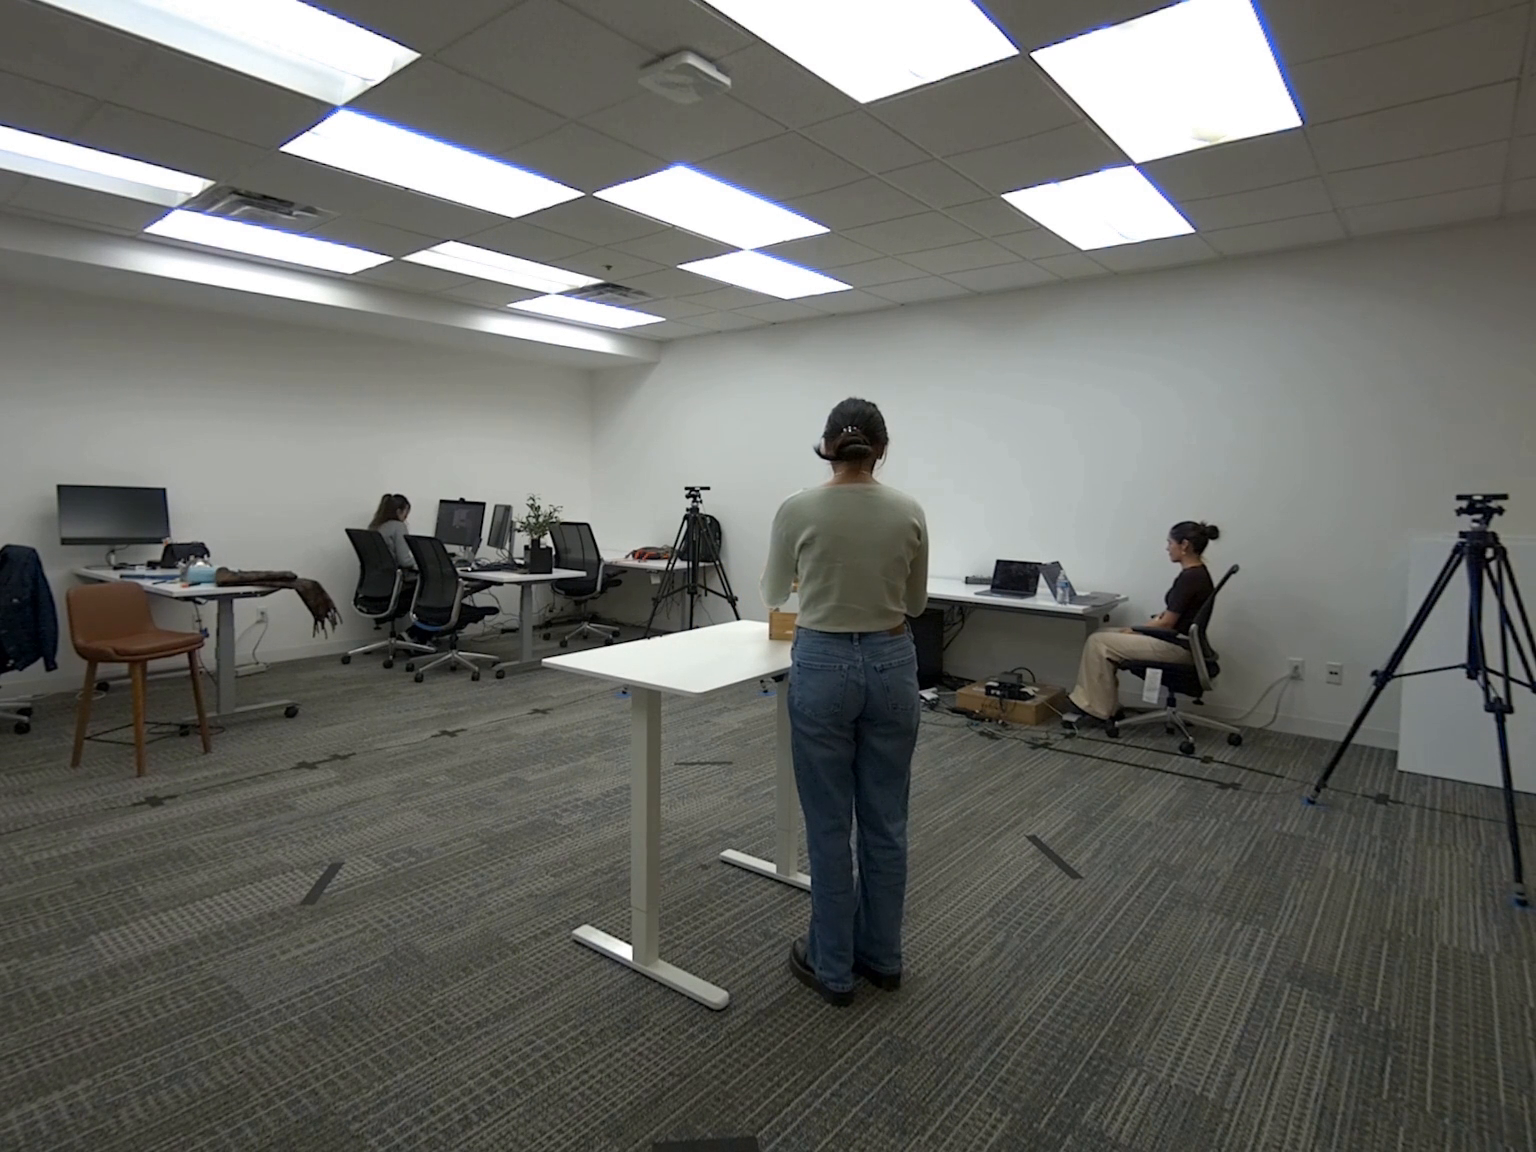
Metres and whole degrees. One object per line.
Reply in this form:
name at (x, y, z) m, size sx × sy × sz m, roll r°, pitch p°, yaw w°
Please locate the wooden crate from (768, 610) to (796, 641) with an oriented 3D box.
wooden crate at (0.151, 0.069, 2.906) m, size 0.328 × 0.272 × 0.300 m, roll 1°, pitch 5°, yaw 10°
